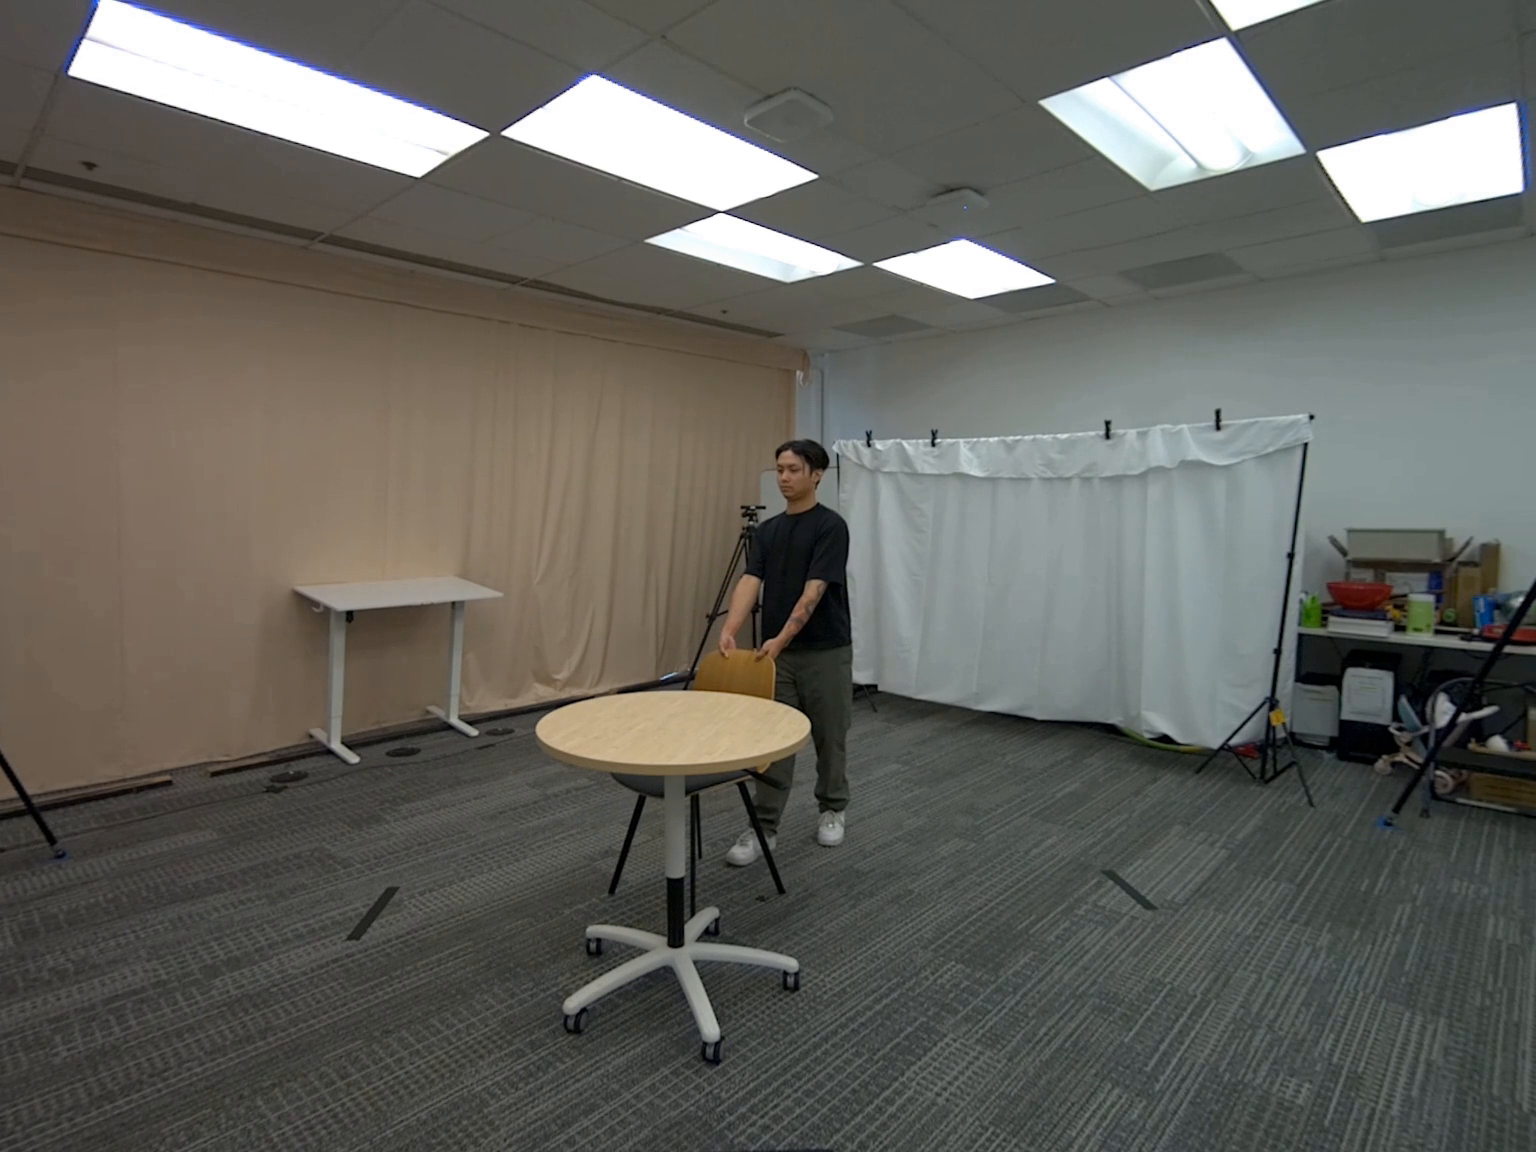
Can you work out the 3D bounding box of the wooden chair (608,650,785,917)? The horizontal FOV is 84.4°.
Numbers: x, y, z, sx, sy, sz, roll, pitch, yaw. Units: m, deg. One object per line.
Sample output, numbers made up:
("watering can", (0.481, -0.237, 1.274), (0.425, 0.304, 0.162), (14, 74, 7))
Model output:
("wooden chair", (-0.258, 0.714, 2.989), (0.494, 0.877, 0.506), (3, 0, 44))
